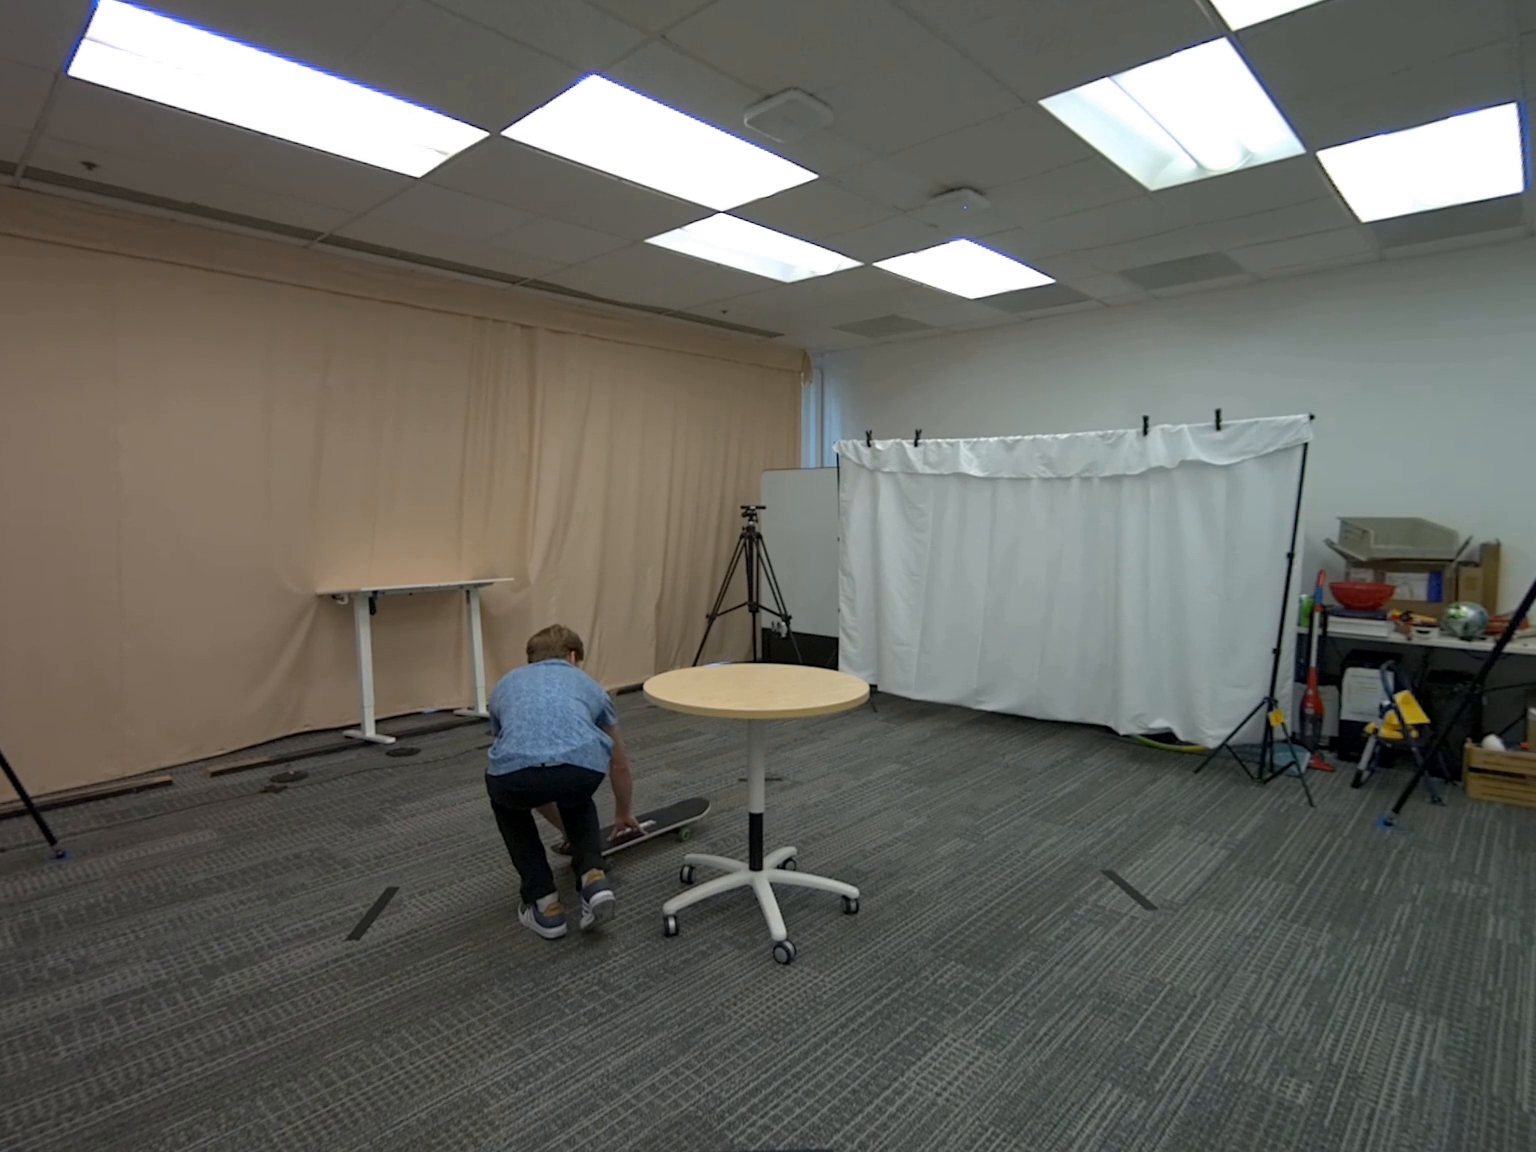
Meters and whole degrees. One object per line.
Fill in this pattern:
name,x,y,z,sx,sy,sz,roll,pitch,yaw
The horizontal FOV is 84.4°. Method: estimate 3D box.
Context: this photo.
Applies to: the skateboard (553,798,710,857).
skateboard,-0.541,1.057,3.420,0.200,0.110,0.762,4,7,44
